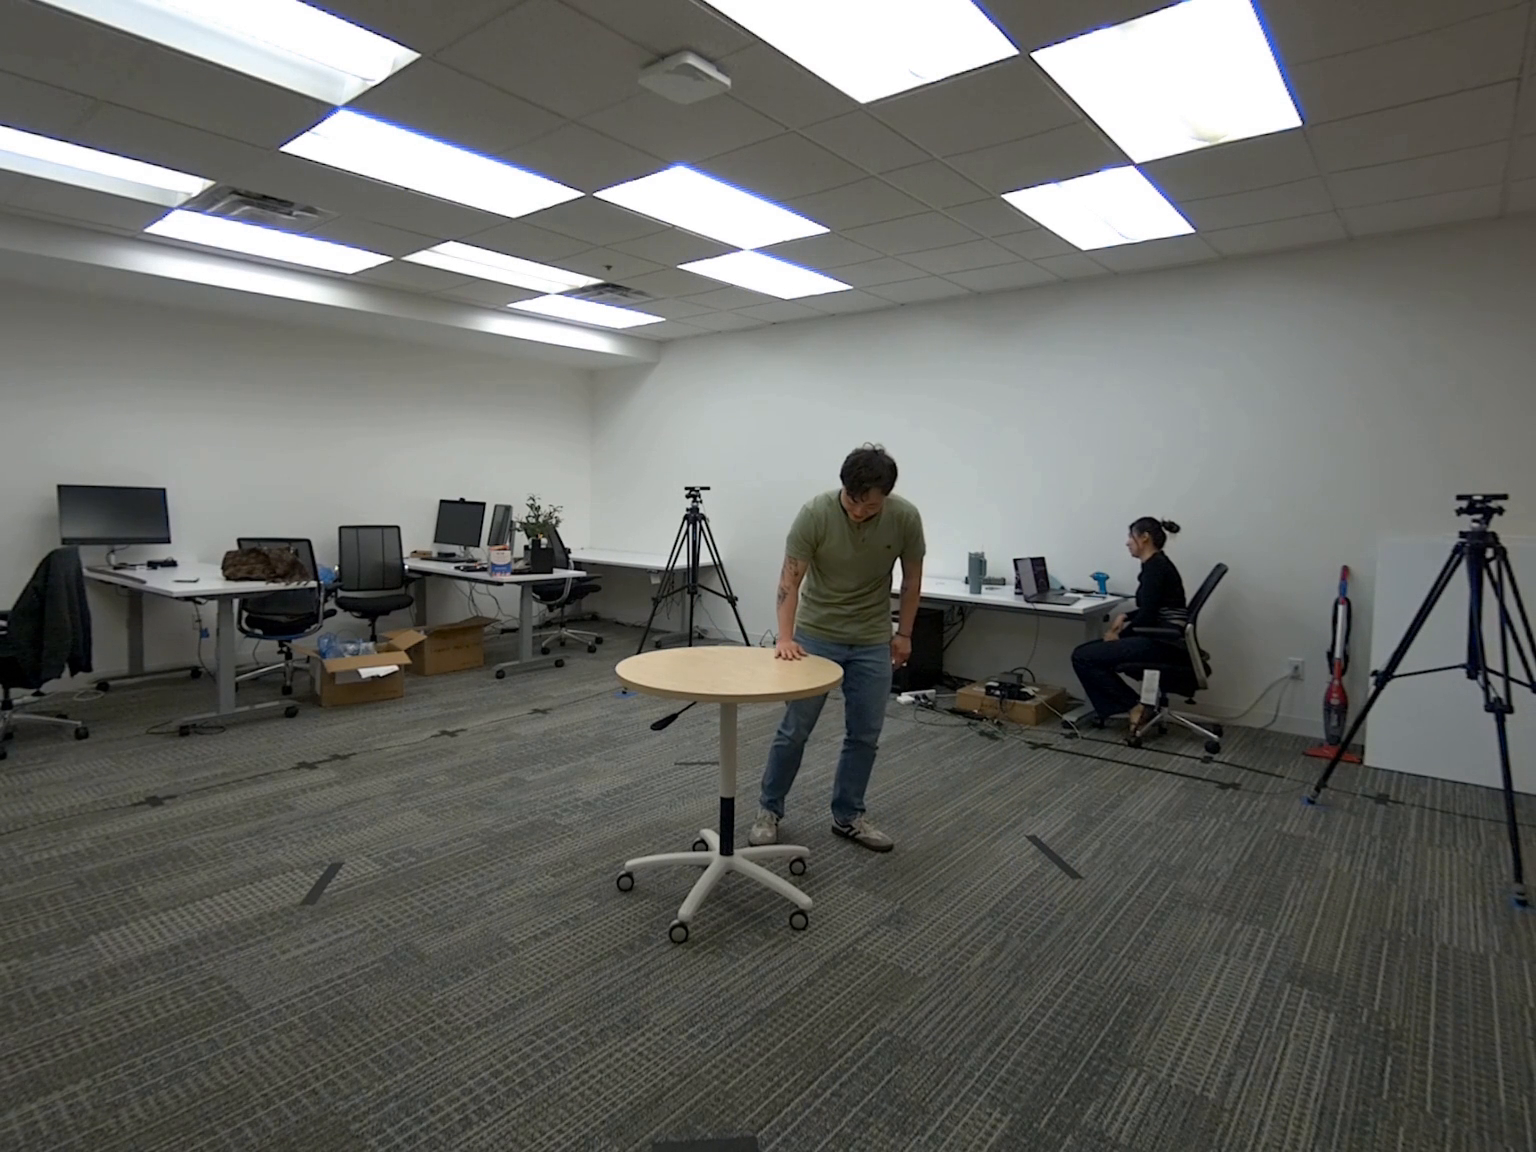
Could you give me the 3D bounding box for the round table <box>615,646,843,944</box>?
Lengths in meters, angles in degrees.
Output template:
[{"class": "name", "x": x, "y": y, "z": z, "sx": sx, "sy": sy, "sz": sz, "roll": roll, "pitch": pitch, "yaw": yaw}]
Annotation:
[{"class": "round table", "x": -0.149, "y": 0.699, "z": 2.890, "sx": 0.763, "sy": 0.791, "sz": 0.768, "roll": 0, "pitch": 4, "yaw": -2}]
